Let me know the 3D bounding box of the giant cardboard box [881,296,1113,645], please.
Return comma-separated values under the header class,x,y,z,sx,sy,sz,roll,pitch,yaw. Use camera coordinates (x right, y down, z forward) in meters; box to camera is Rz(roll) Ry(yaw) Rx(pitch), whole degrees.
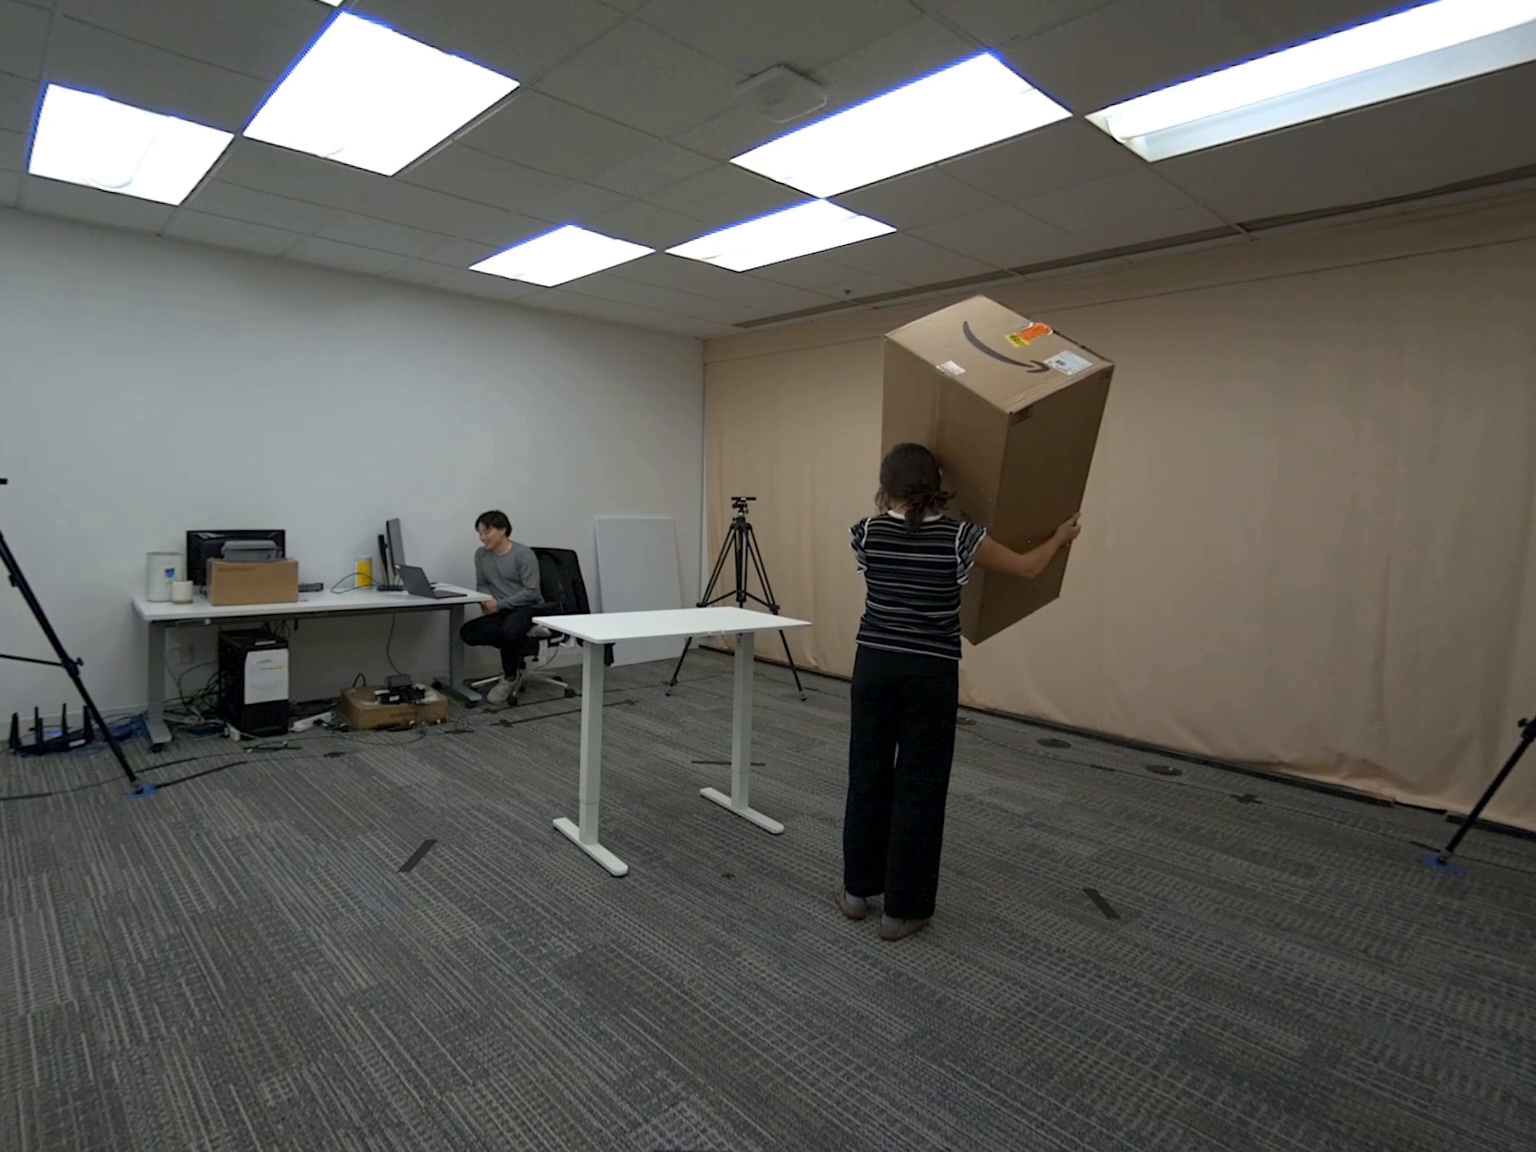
class,x,y,z,sx,sy,sz,roll,pitch,yaw
giant cardboard box,0.732,-0.343,2.965,0.423,1.001,0.596,-26,48,-20
